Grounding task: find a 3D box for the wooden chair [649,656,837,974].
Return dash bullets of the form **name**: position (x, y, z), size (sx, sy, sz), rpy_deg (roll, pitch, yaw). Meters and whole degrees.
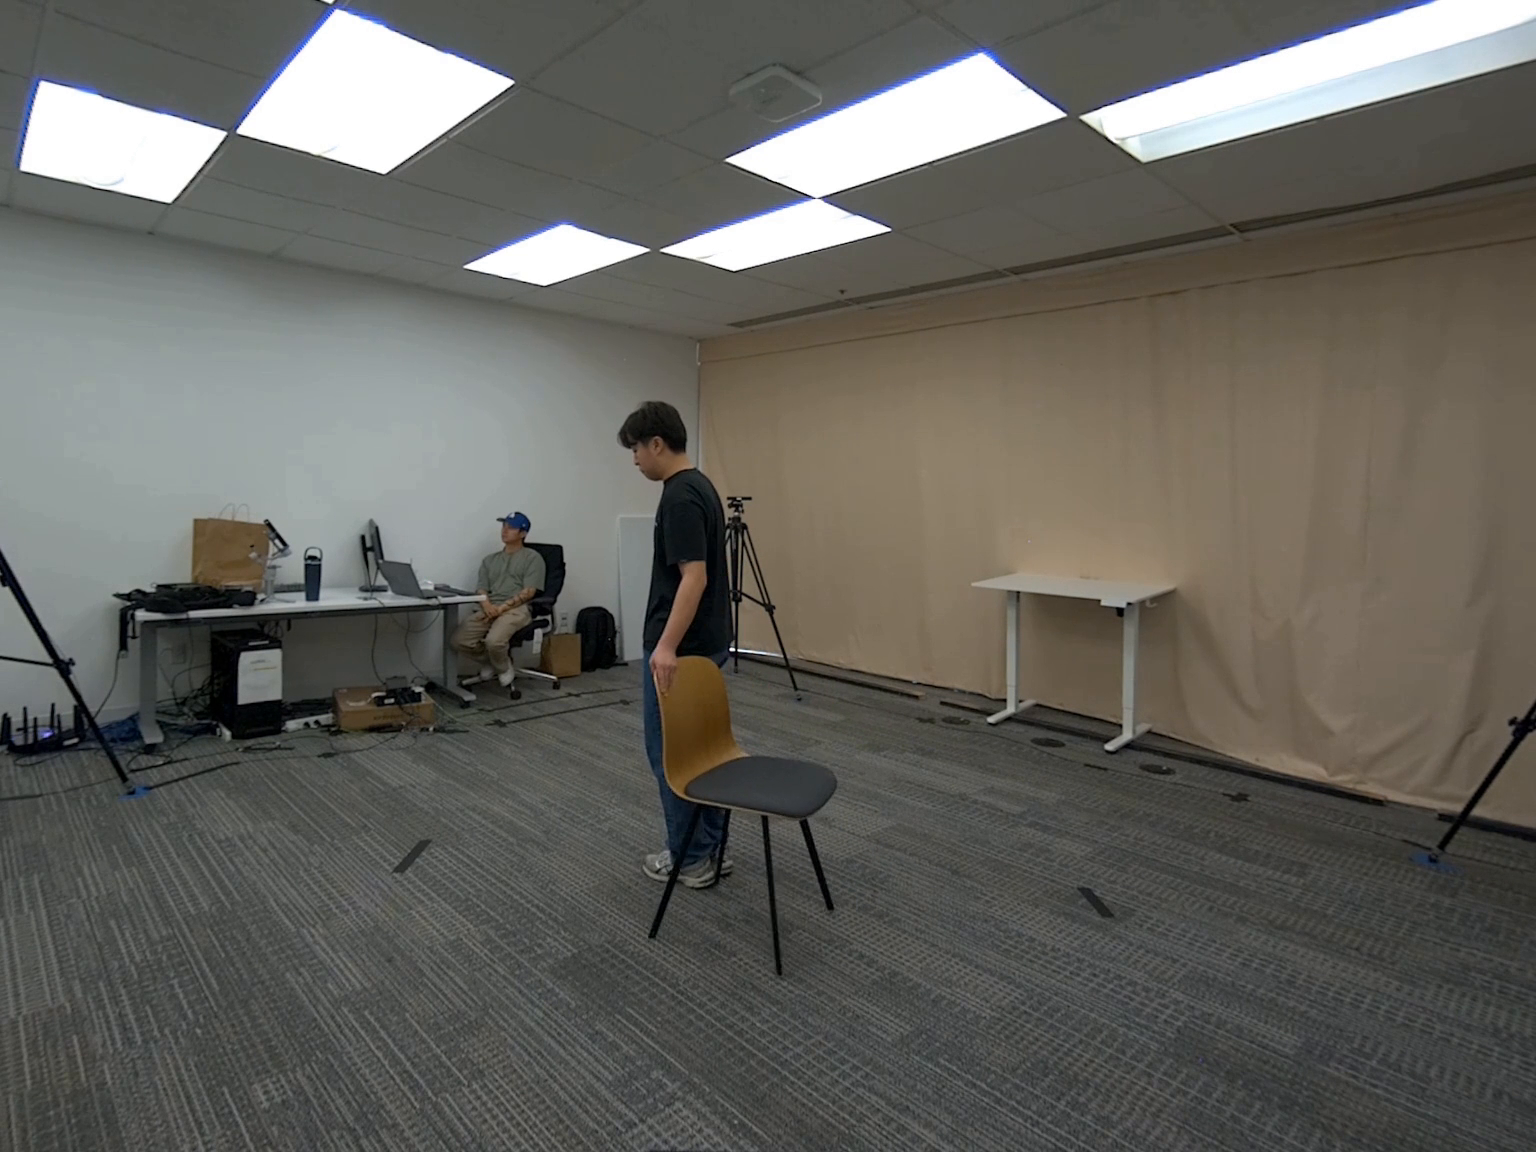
- **wooden chair**: position (-0.063, 0.714, 2.713), size (0.533, 0.876, 0.470), rpy_deg (-3, 1, 27)
